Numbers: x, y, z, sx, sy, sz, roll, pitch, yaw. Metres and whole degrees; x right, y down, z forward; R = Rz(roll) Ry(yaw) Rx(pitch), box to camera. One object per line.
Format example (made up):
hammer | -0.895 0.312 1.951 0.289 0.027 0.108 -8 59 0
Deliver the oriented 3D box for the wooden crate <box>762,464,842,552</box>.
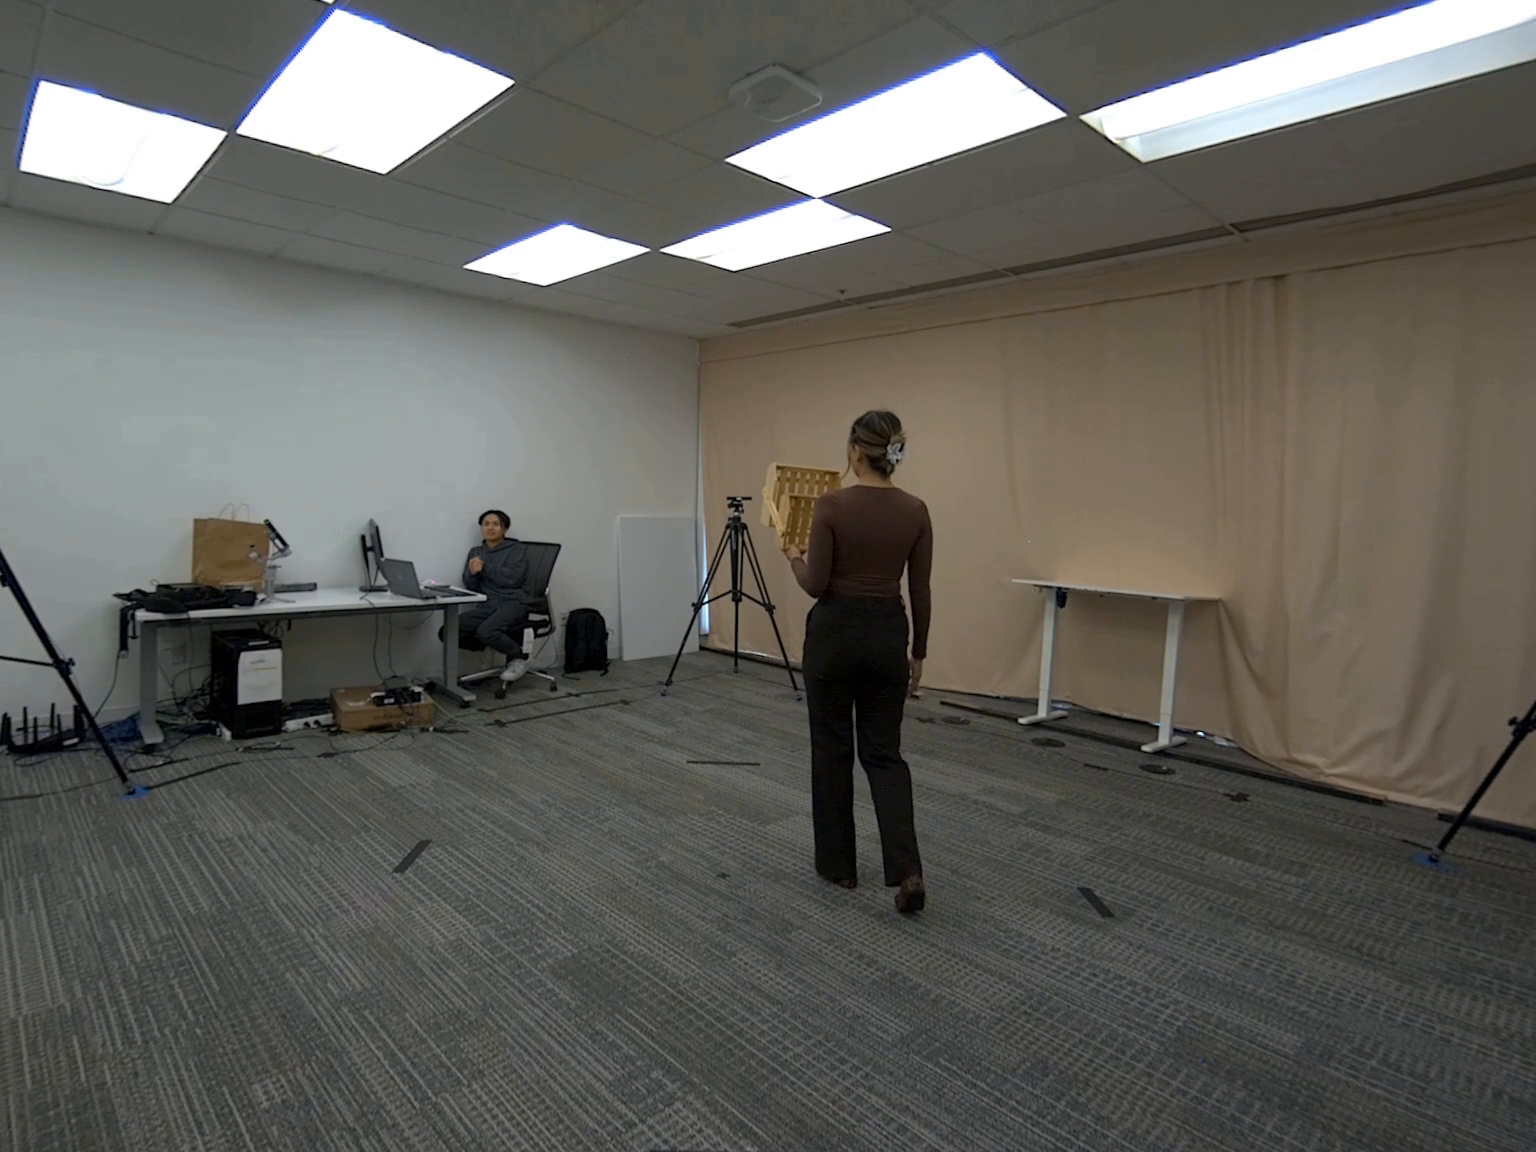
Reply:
wooden crate | 0.166 -0.268 3.302 0.319 0.300 0.280 4 12 -21
